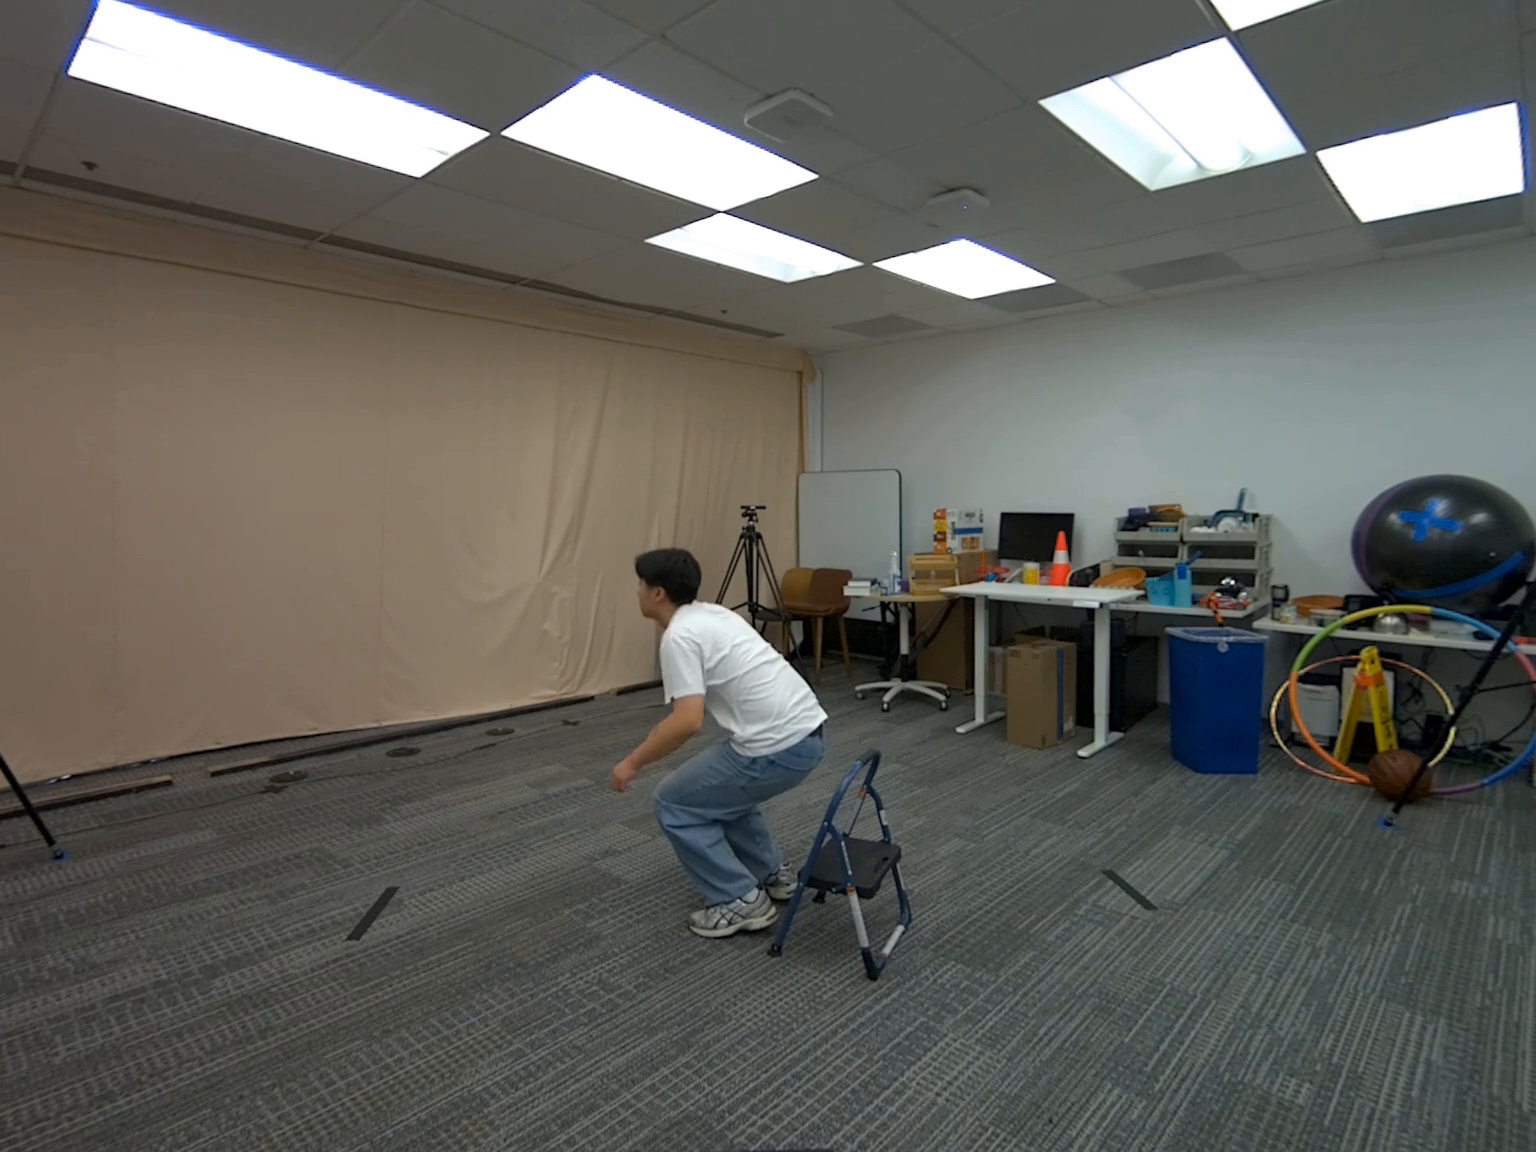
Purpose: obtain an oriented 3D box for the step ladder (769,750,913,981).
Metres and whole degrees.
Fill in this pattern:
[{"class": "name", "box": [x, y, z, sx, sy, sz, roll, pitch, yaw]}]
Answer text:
[{"class": "step ladder", "box": [0.246, 0.865, 2.697, 0.358, 0.605, 0.420, 1, 4, 25]}]
